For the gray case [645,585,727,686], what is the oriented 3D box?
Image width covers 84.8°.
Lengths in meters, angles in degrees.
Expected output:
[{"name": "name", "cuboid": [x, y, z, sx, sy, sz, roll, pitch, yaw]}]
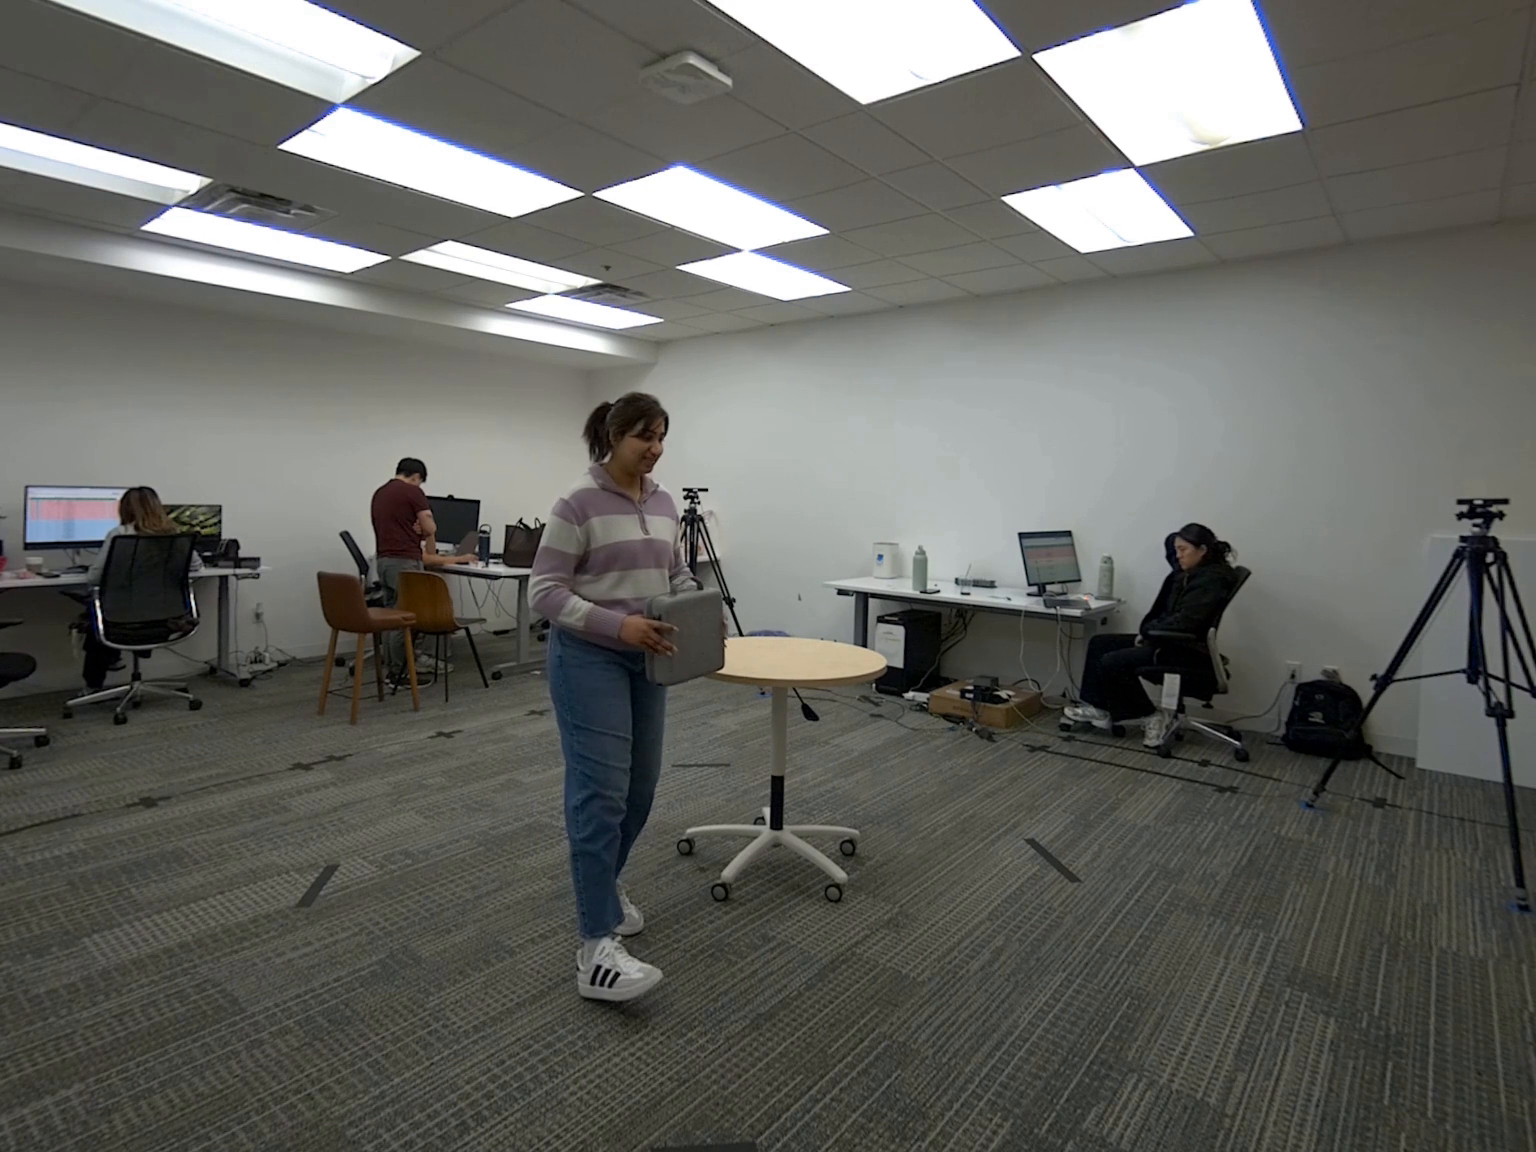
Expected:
[{"name": "gray case", "cuboid": [-0.256, 0.168, 2.441, 0.108, 0.259, 0.250, 5, 10, 39]}]
